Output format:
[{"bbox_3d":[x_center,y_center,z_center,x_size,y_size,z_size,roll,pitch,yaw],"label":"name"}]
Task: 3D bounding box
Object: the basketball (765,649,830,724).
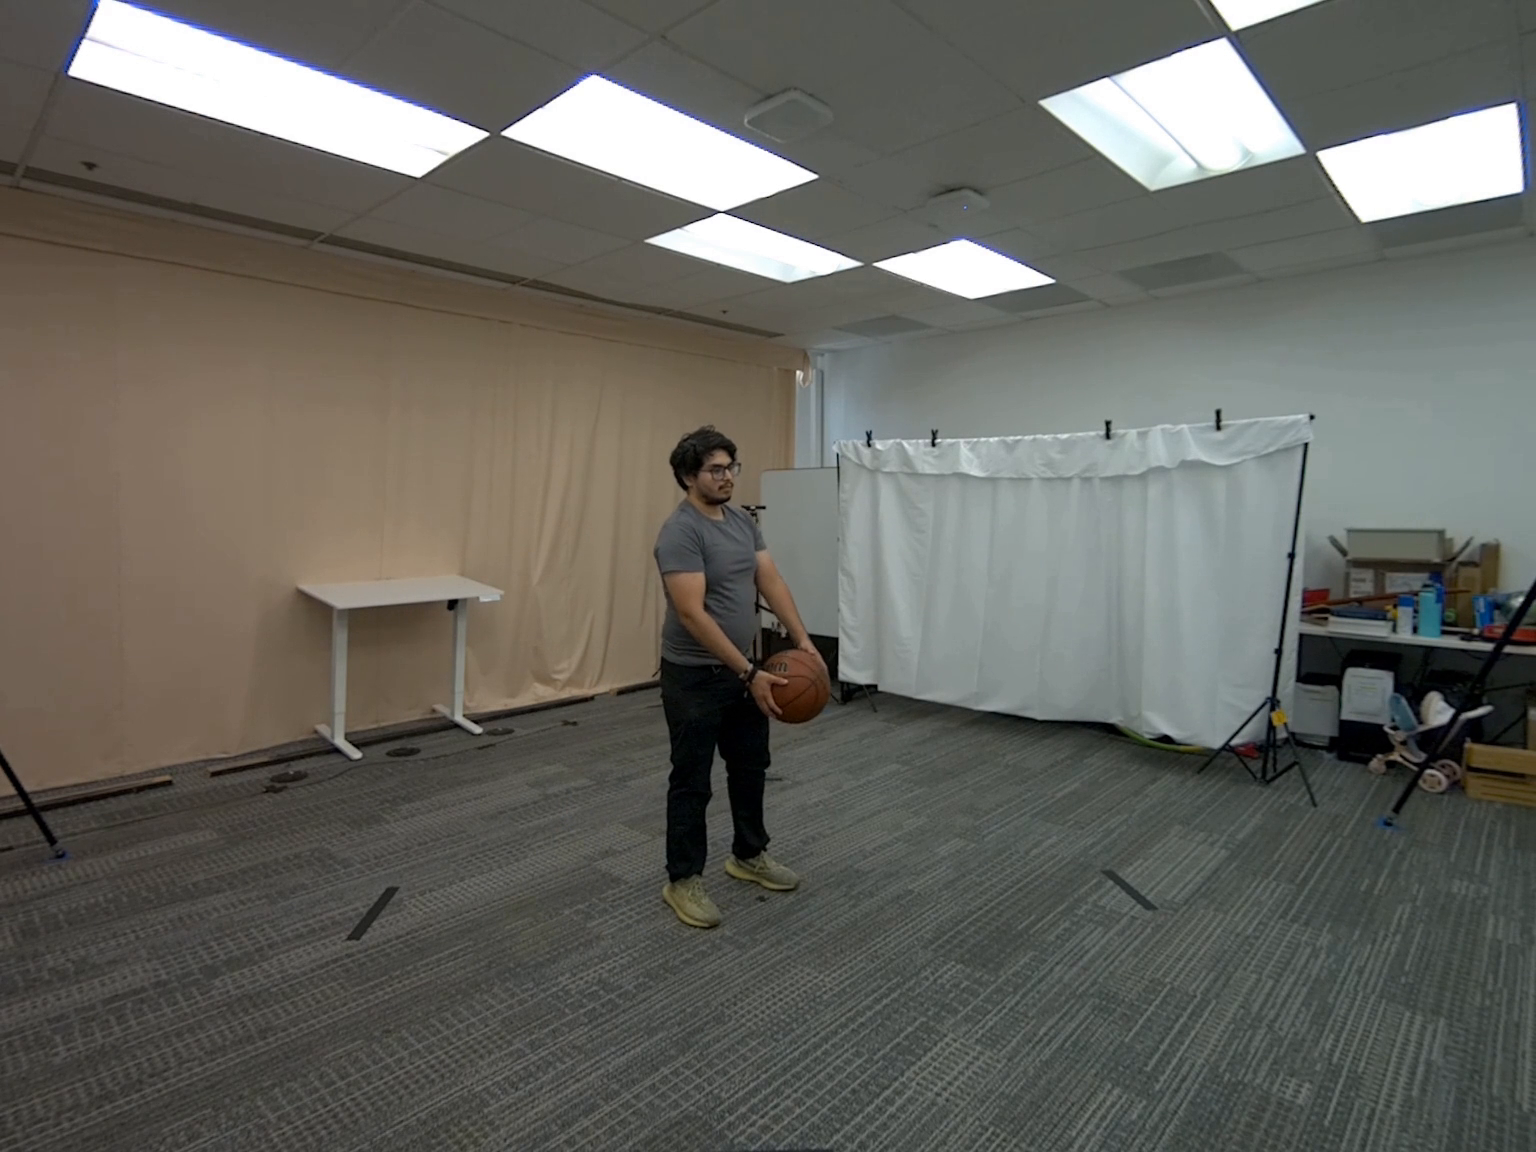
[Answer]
[{"bbox_3d":[0.088,0.357,2.736,0.236,0.235,0.237,0,4,-2],"label":"basketball"}]
